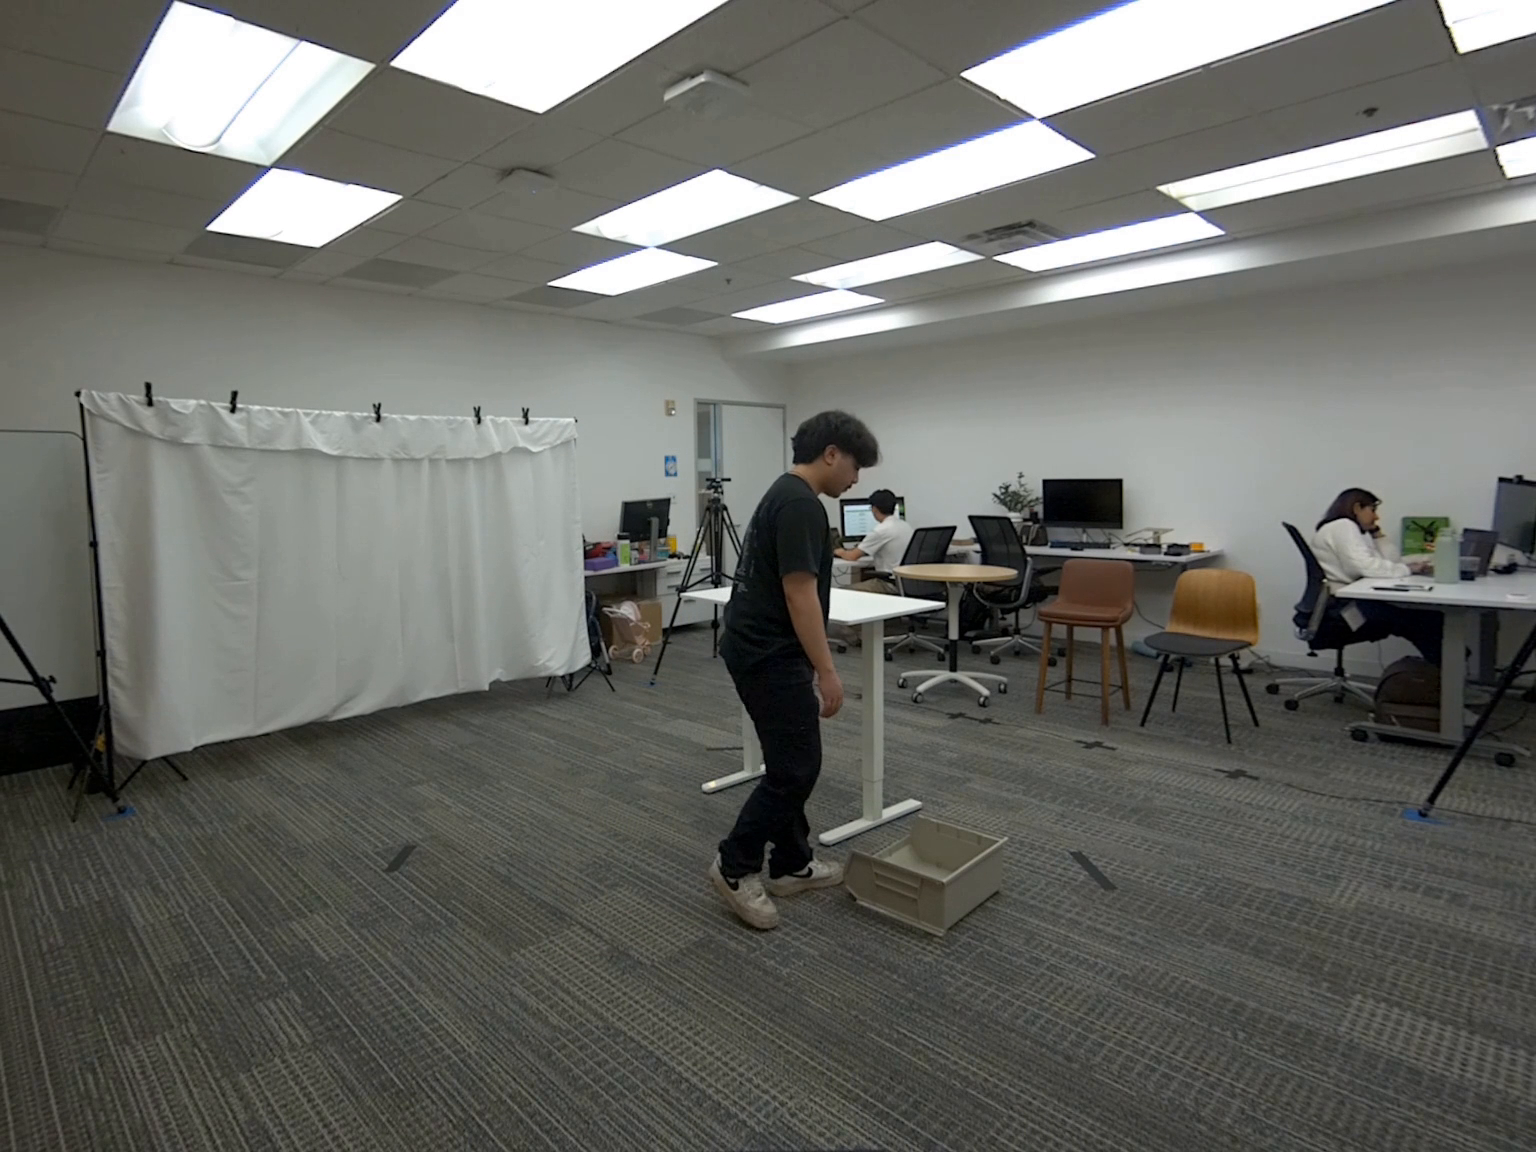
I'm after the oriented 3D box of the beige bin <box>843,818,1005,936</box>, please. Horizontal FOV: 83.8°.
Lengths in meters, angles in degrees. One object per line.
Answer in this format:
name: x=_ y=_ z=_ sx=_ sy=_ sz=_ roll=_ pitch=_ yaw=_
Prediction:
beige bin: x=0.521 y=0.972 z=2.844 sx=0.389 sy=0.188 sz=0.411 roll=5 pitch=7 yaw=43
